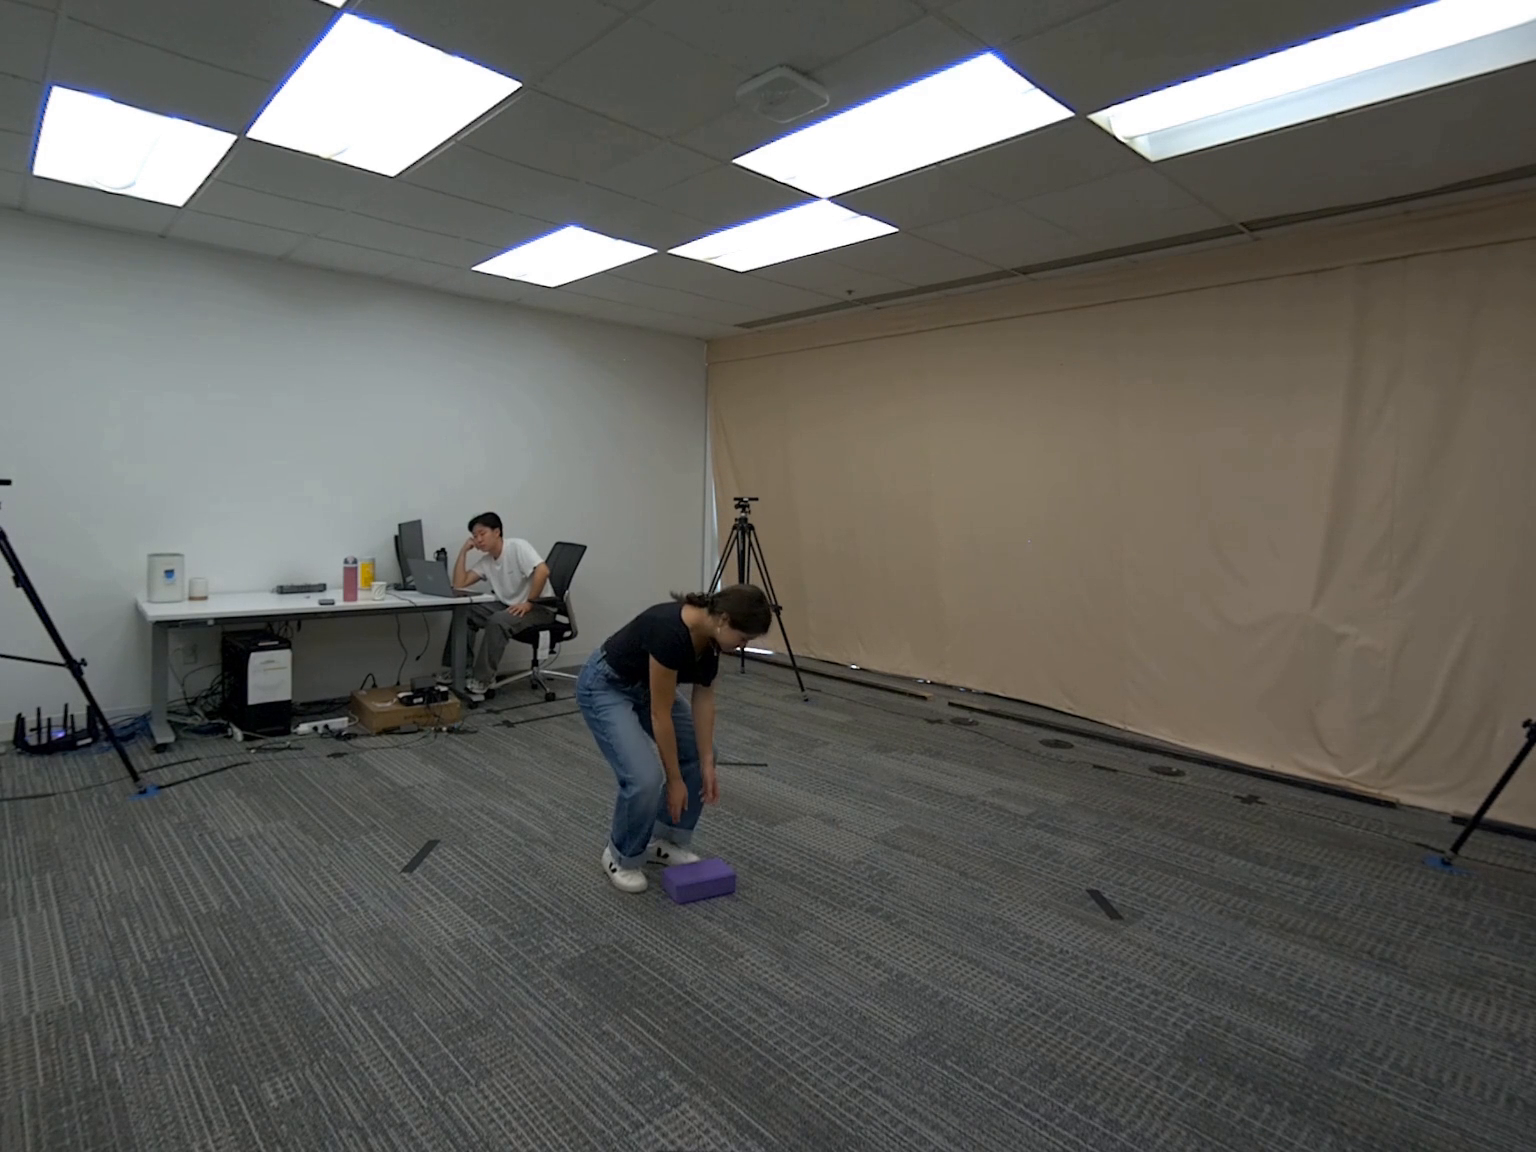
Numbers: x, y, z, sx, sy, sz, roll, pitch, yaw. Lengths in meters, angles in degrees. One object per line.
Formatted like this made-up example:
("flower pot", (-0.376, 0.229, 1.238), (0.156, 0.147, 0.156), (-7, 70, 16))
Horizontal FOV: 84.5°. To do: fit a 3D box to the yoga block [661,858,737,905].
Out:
("yoga block", (-0.254, 1.080, 2.974), (0.225, 0.076, 0.152), (-2, 6, -27))
